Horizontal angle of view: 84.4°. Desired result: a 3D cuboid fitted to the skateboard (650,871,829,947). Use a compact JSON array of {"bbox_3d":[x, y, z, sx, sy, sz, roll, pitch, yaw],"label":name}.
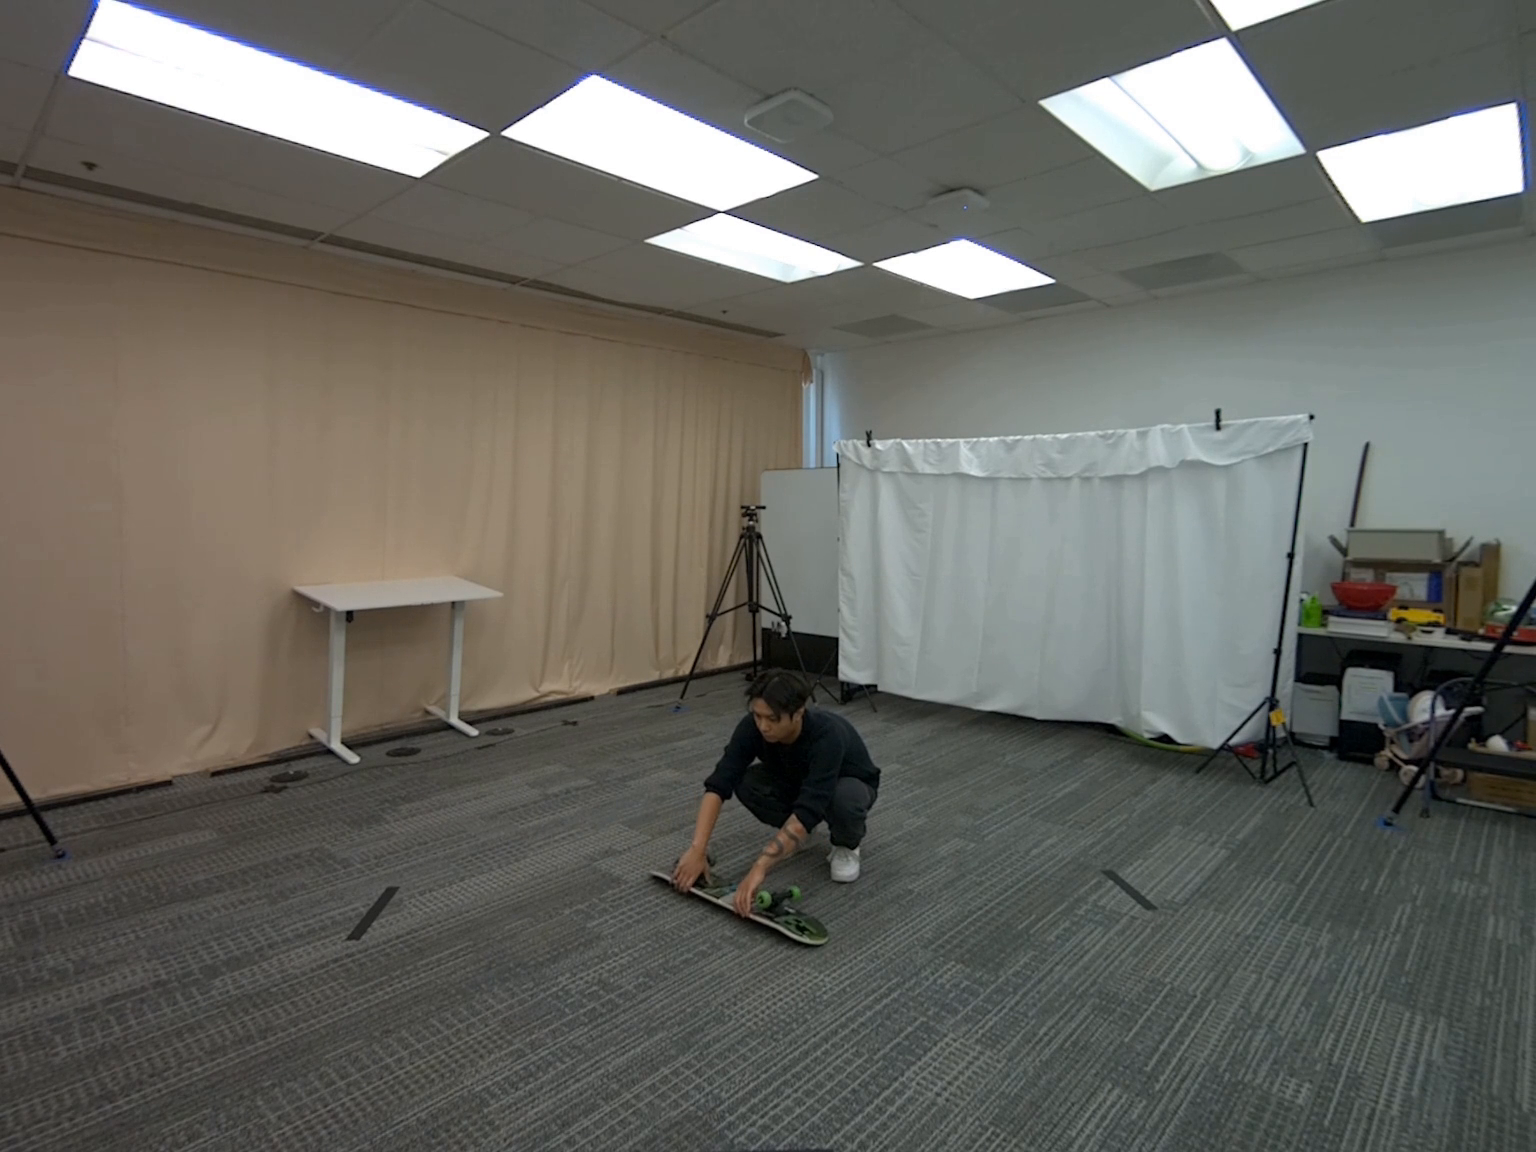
[{"bbox_3d":[-0.118,1.092,2.936,0.812,0.110,0.187,5,-4,45],"label":"skateboard"}]
